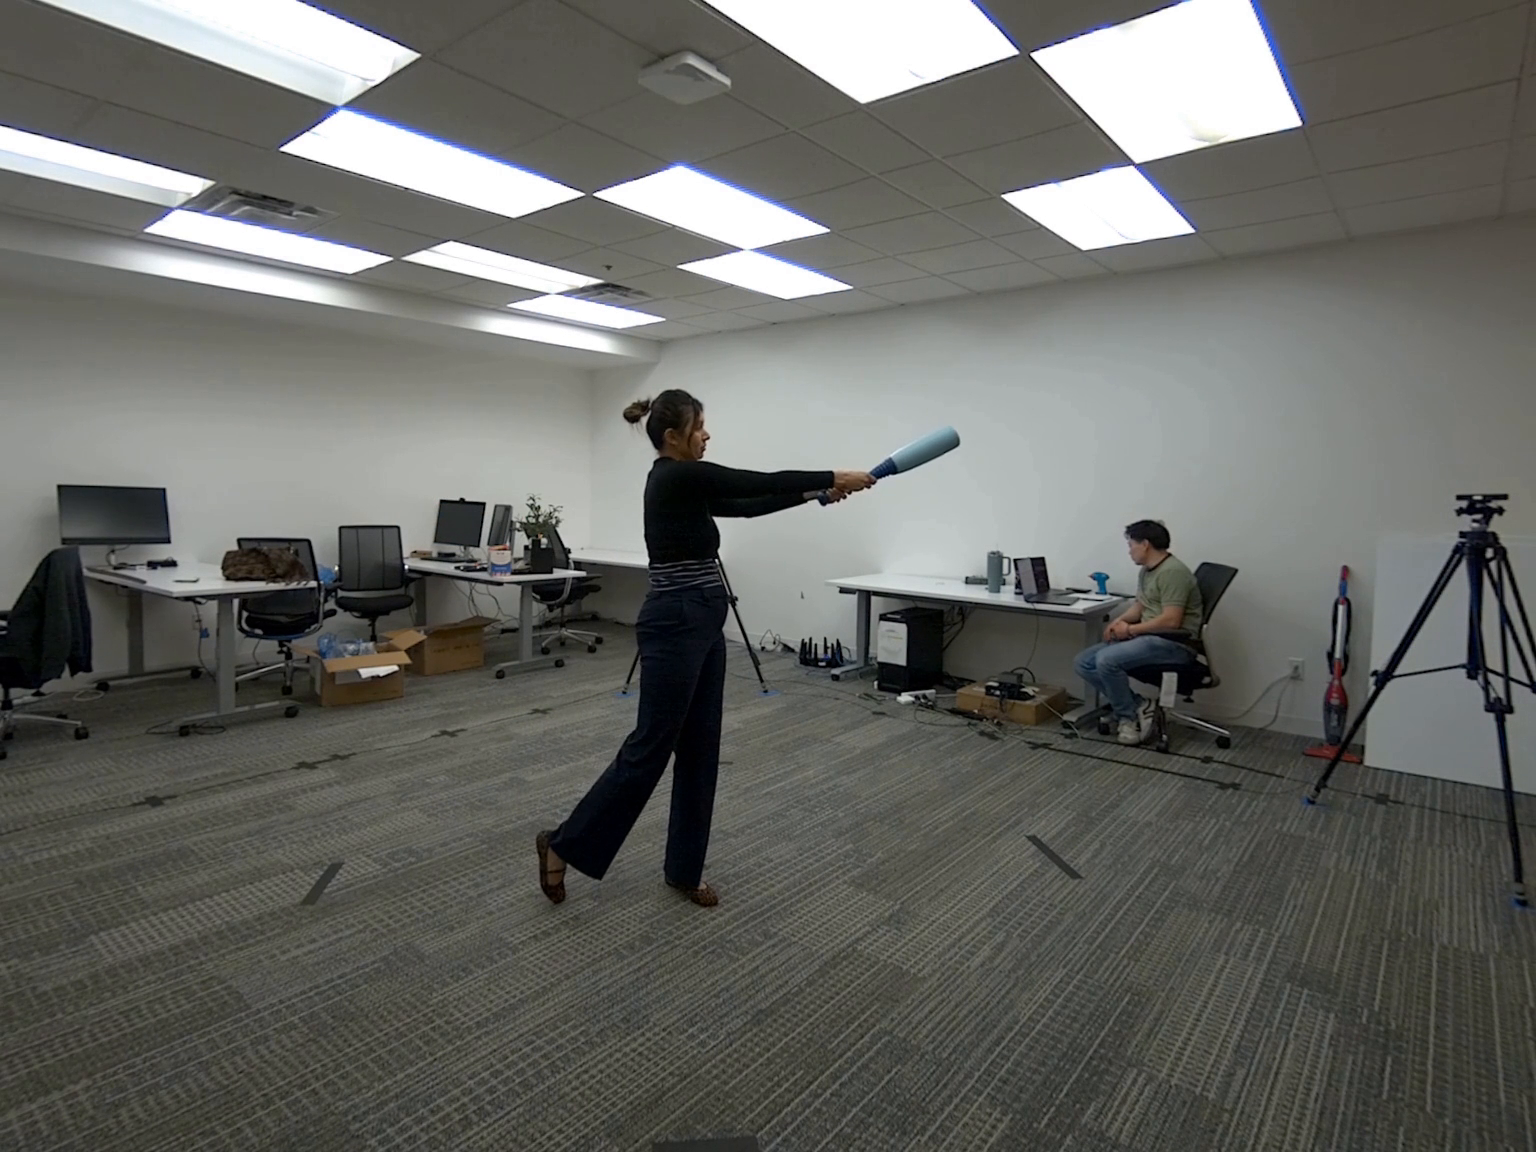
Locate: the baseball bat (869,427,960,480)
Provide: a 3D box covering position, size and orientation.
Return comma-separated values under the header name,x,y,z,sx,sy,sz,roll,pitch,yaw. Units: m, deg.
name,x,y,z,sx,sy,sz,roll,pitch,yaw
baseball bat,0.412,-0.372,2.969,0.542,0.088,0.090,-27,6,-2
